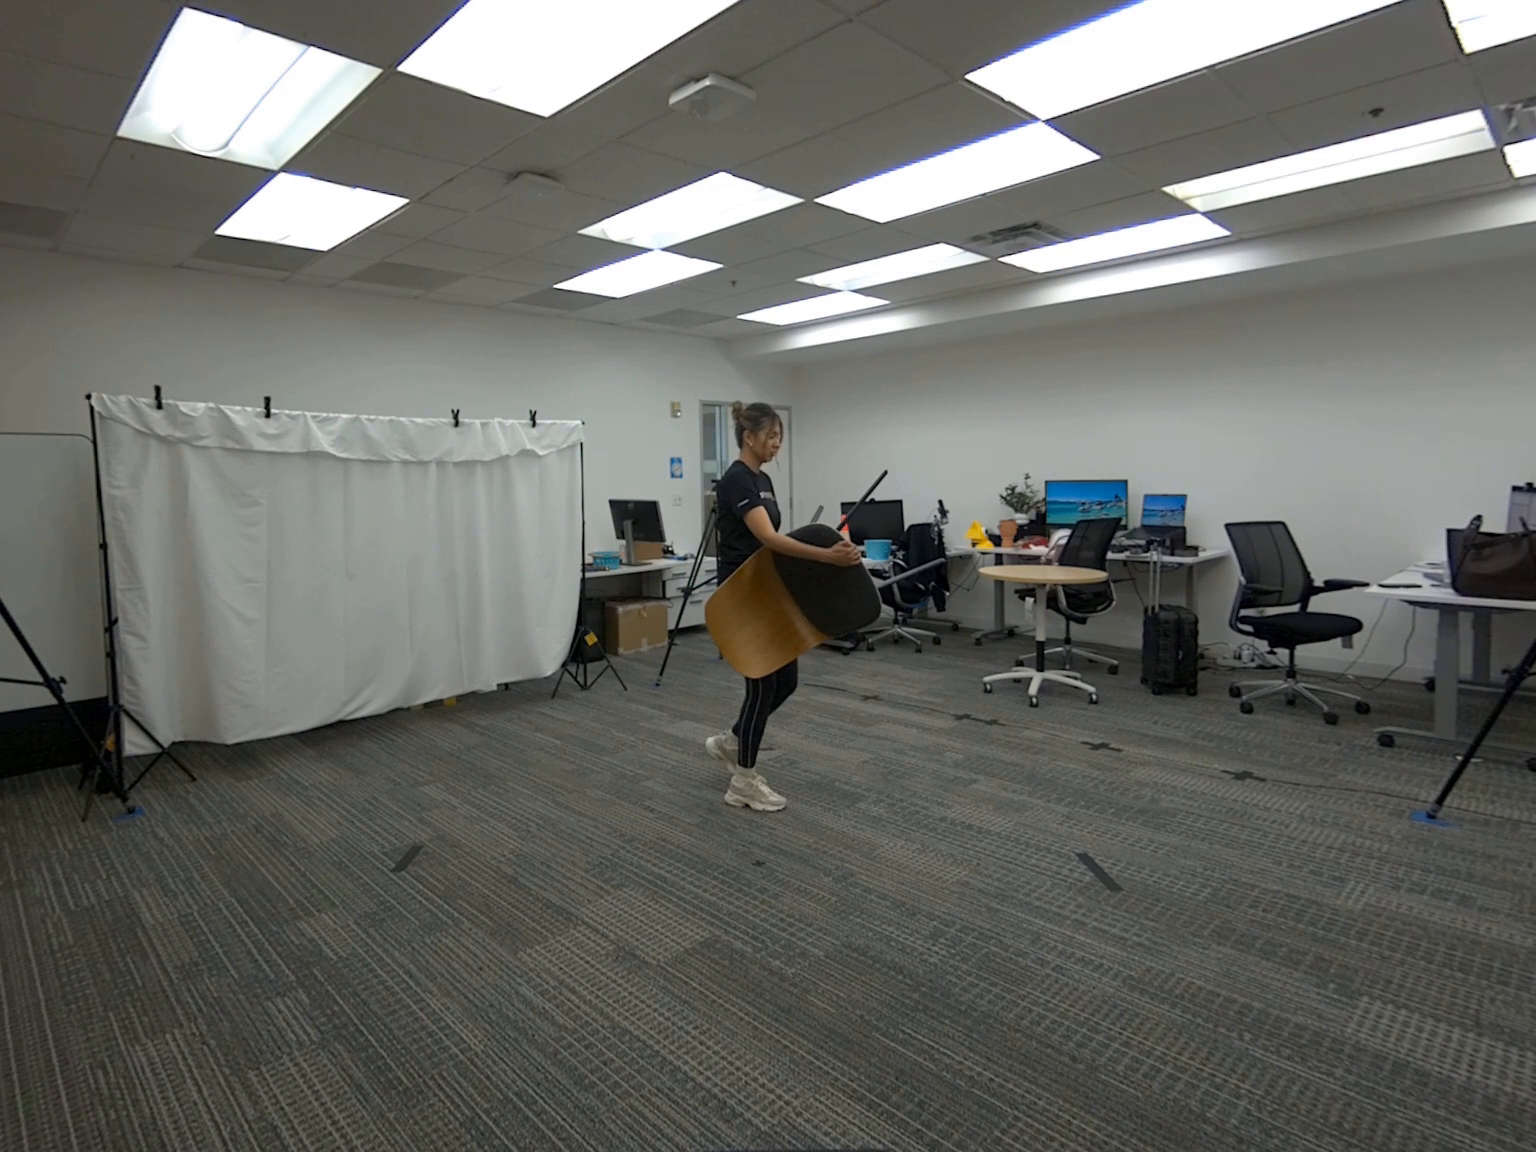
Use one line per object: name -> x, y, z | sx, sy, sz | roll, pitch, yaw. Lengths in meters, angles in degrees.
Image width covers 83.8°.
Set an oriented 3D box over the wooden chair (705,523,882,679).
wooden chair -> 0.221, 0.021, 3.451 | 0.870, 0.477, 0.529 | -34, 5, -32
